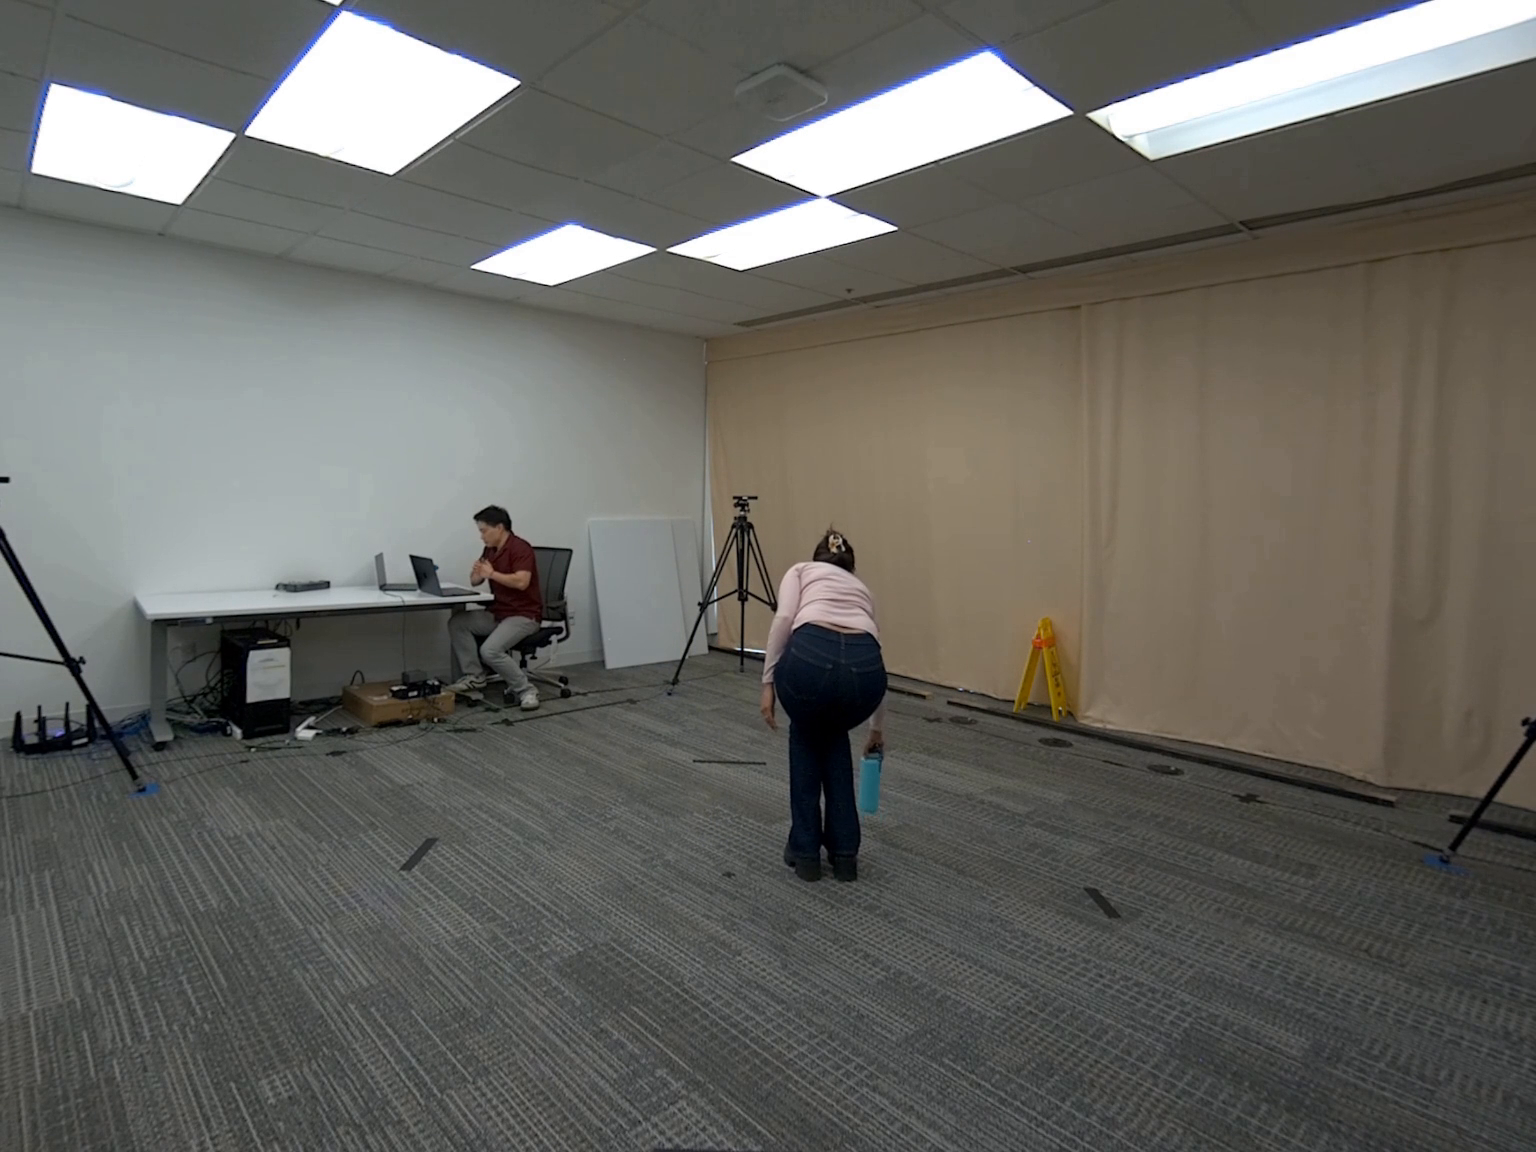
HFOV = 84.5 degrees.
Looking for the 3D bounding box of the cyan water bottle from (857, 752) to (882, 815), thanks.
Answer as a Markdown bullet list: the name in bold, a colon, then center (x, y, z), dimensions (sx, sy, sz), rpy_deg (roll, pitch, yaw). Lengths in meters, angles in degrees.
- **cyan water bottle**: center (0.432, 0.858, 3.622), dimensions (0.092, 0.283, 0.092), rpy_deg (4, 2, -2)
